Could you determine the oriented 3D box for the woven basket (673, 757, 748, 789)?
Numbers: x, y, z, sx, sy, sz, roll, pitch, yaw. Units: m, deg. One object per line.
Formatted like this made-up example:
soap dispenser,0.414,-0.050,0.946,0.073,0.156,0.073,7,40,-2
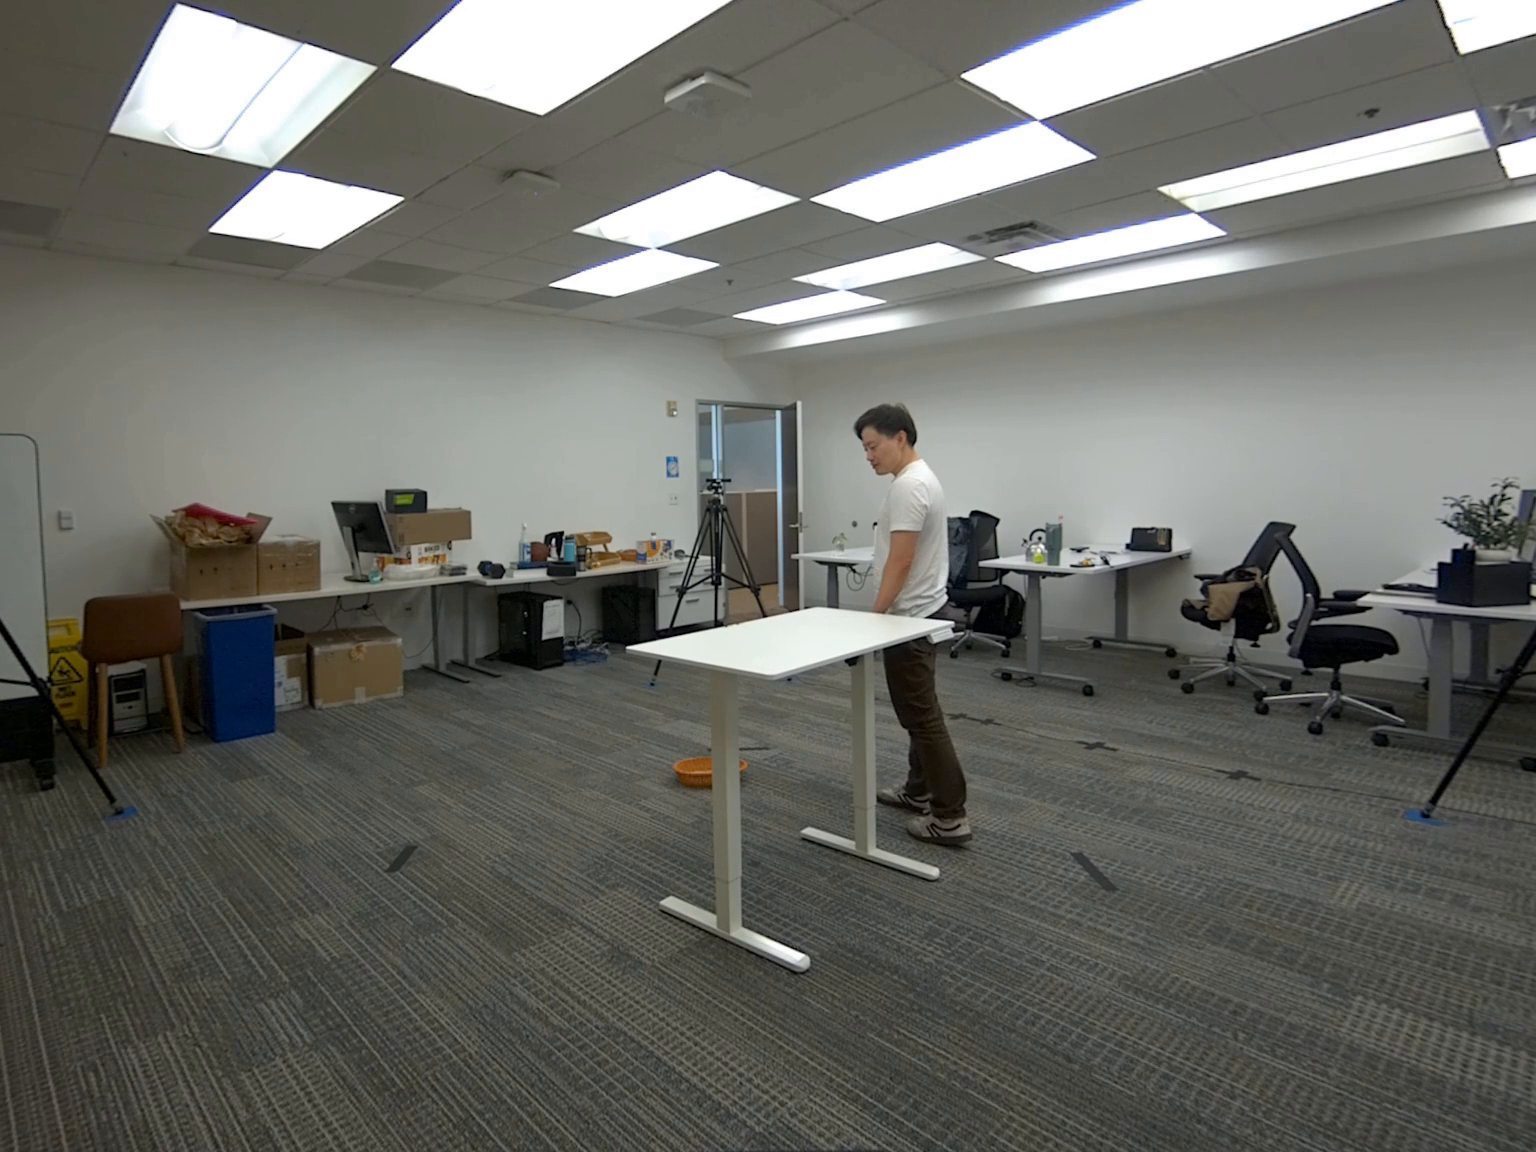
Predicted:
woven basket,-0.271,0.914,3.986,0.350,0.073,0.253,-1,5,-1
